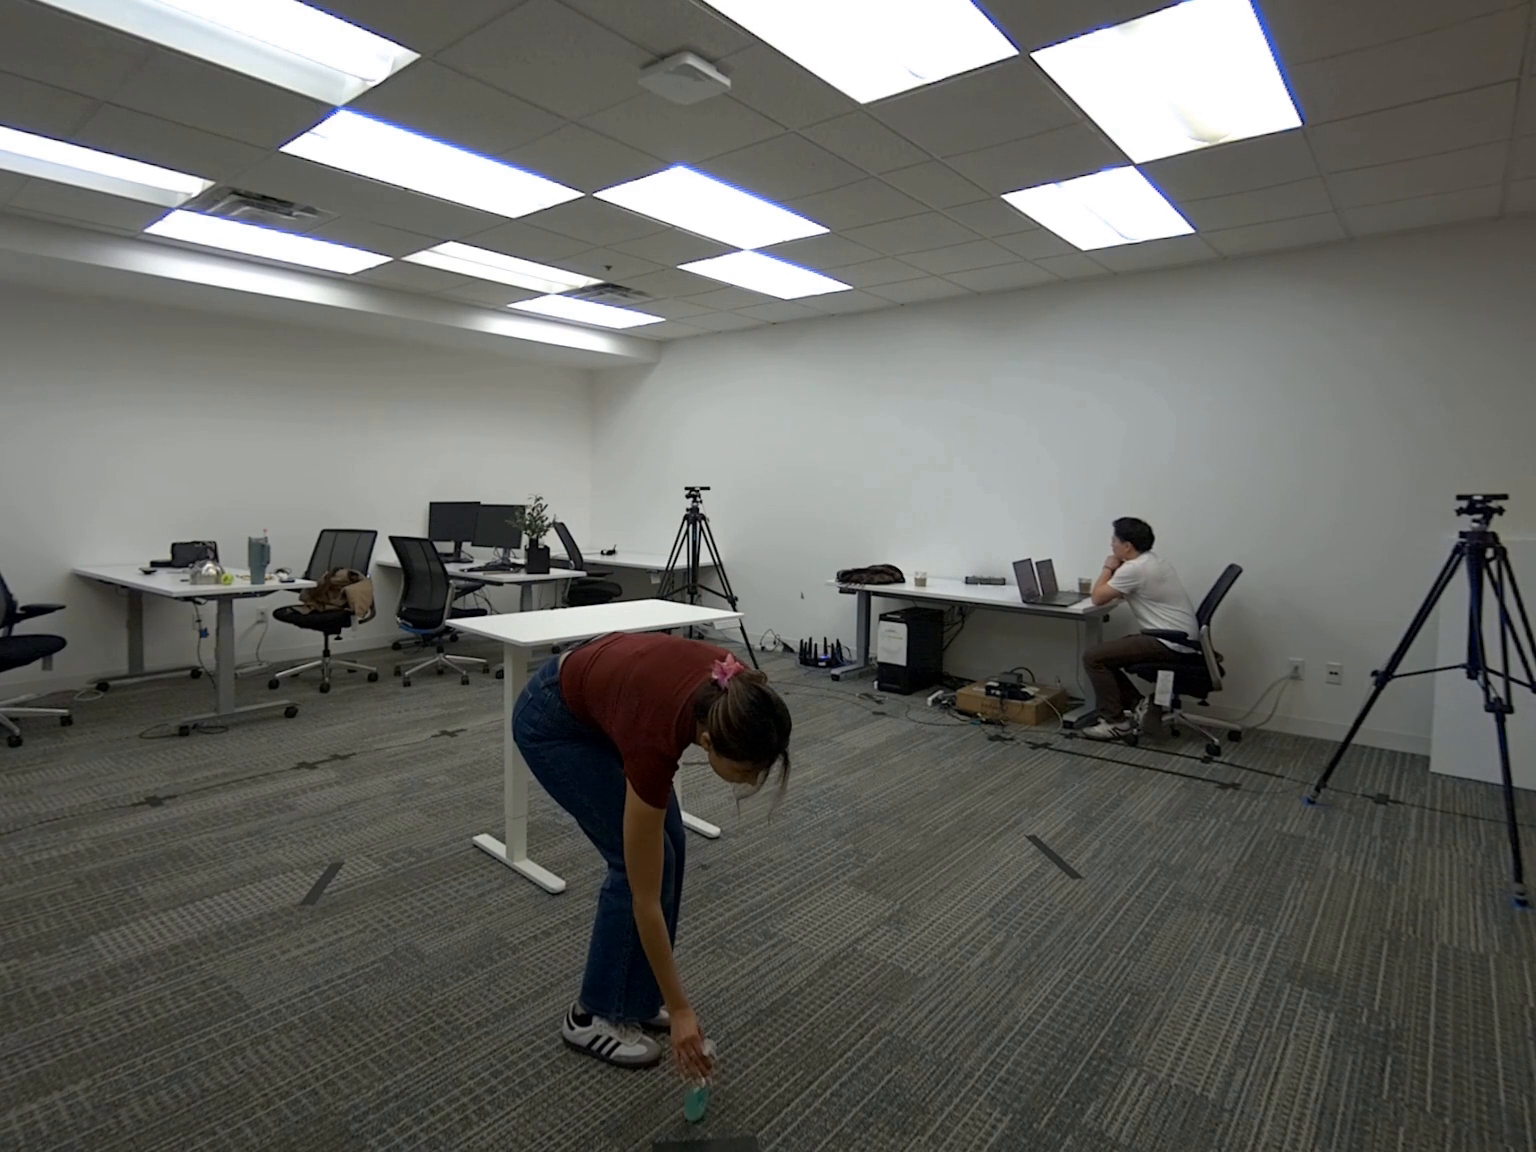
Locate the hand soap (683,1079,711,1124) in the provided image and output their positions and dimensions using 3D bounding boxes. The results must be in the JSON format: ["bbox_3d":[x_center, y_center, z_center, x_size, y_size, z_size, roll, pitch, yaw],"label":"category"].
[{"bbox_3d":[-0.155,1.099,1.869,0.044,0.167,0.083,12,6,14],"label":"hand soap"}]
